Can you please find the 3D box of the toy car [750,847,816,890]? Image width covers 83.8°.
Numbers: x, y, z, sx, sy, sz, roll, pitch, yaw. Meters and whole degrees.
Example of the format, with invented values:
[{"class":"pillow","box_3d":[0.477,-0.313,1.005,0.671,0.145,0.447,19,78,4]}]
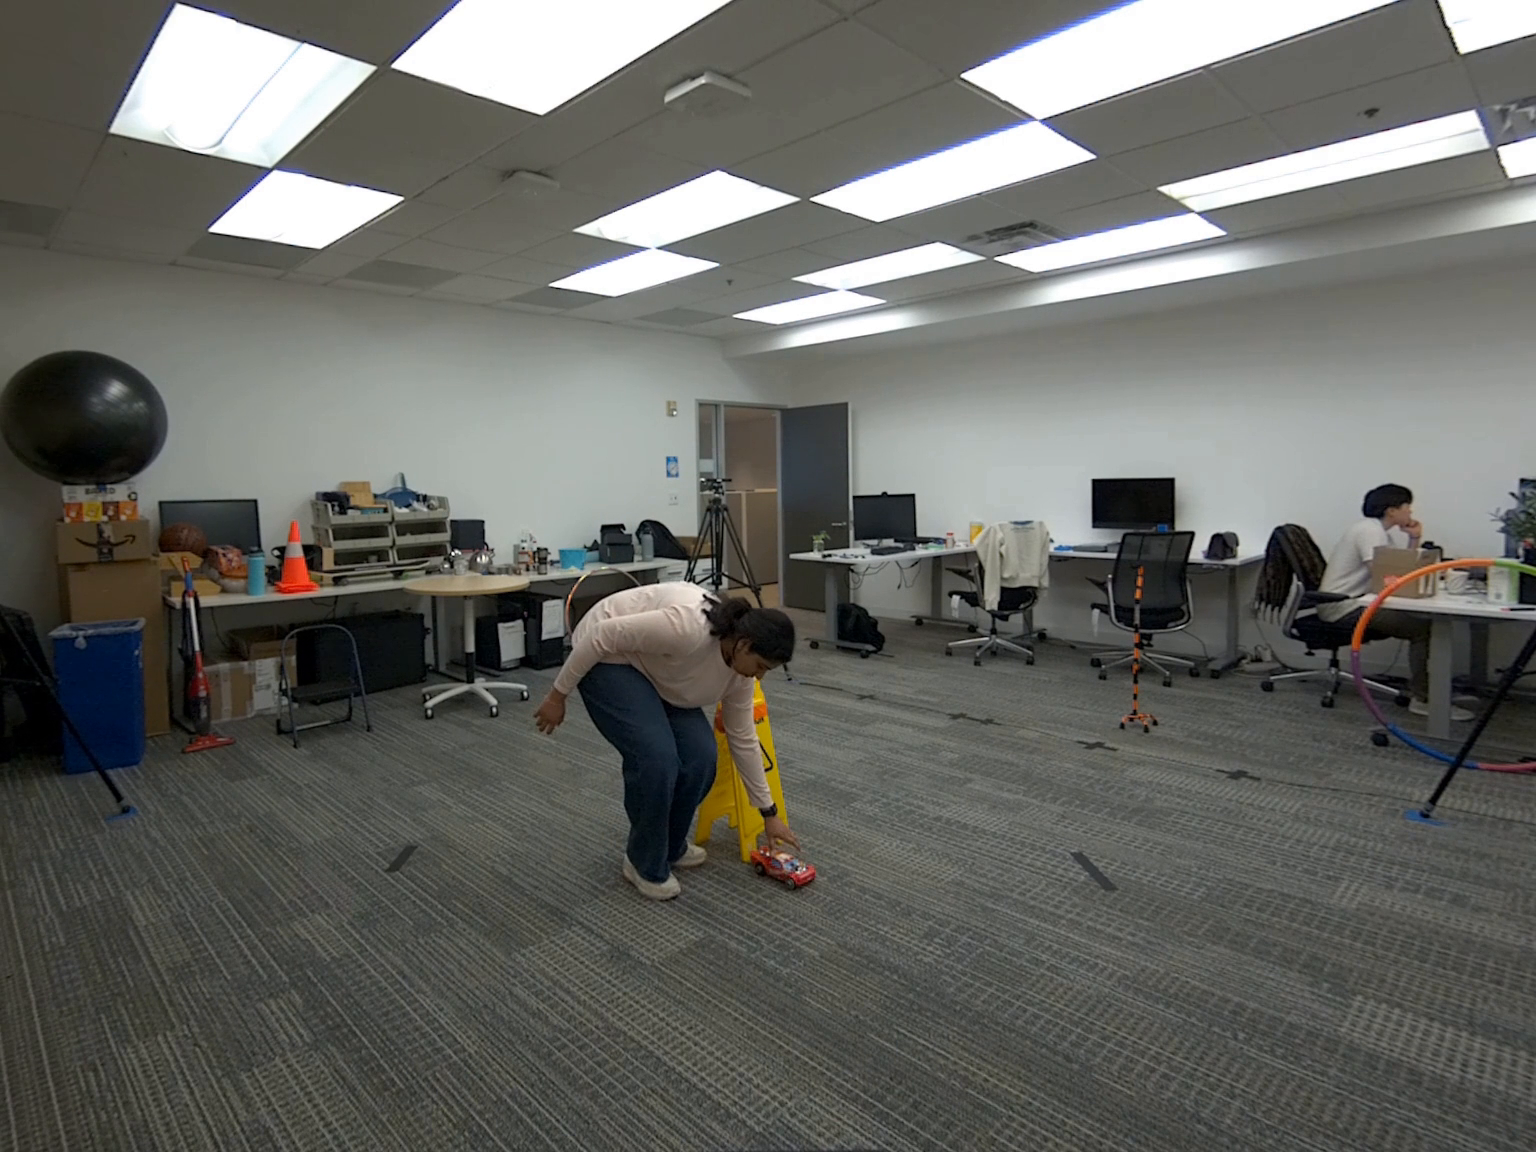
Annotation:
[{"class":"toy car","box_3d":[0.040,1.020,3.002,0.127,0.082,0.264,-6,18,-42]}]
